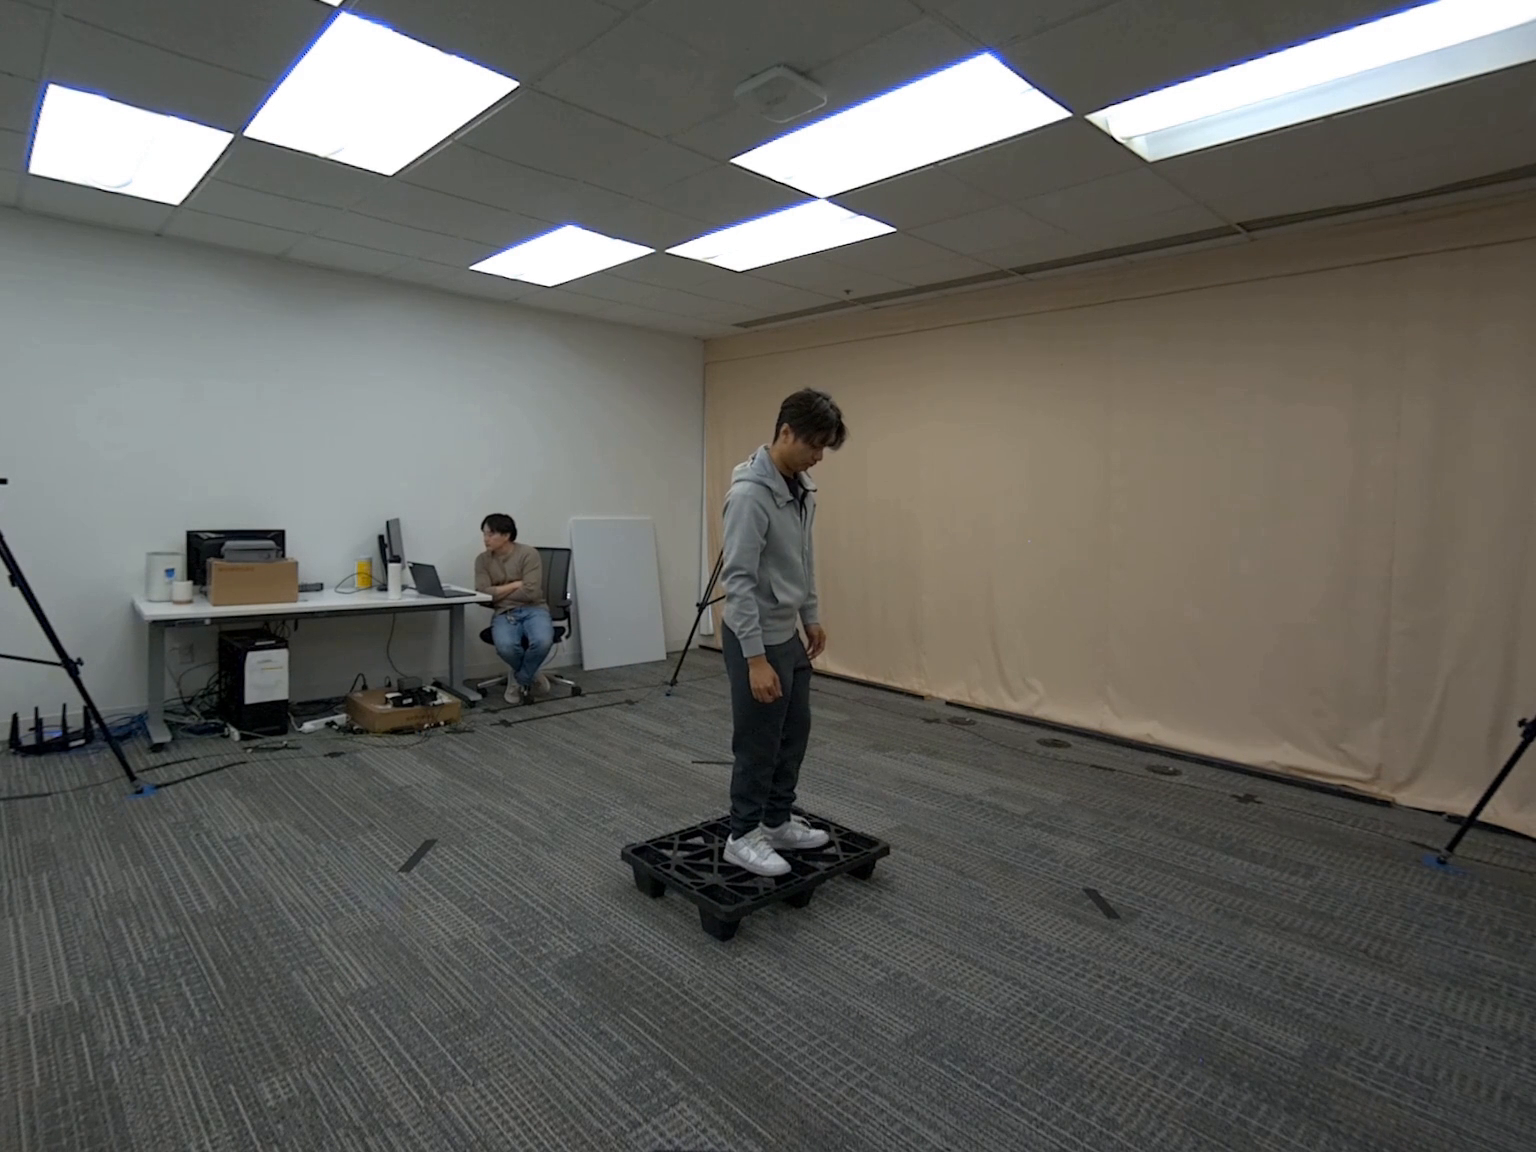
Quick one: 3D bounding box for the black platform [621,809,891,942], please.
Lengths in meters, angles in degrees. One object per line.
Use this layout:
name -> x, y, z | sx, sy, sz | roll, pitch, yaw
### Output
black platform -> -0.050, 1.047, 3.048 | 0.787, 0.143, 0.620 | -3, 6, -42
